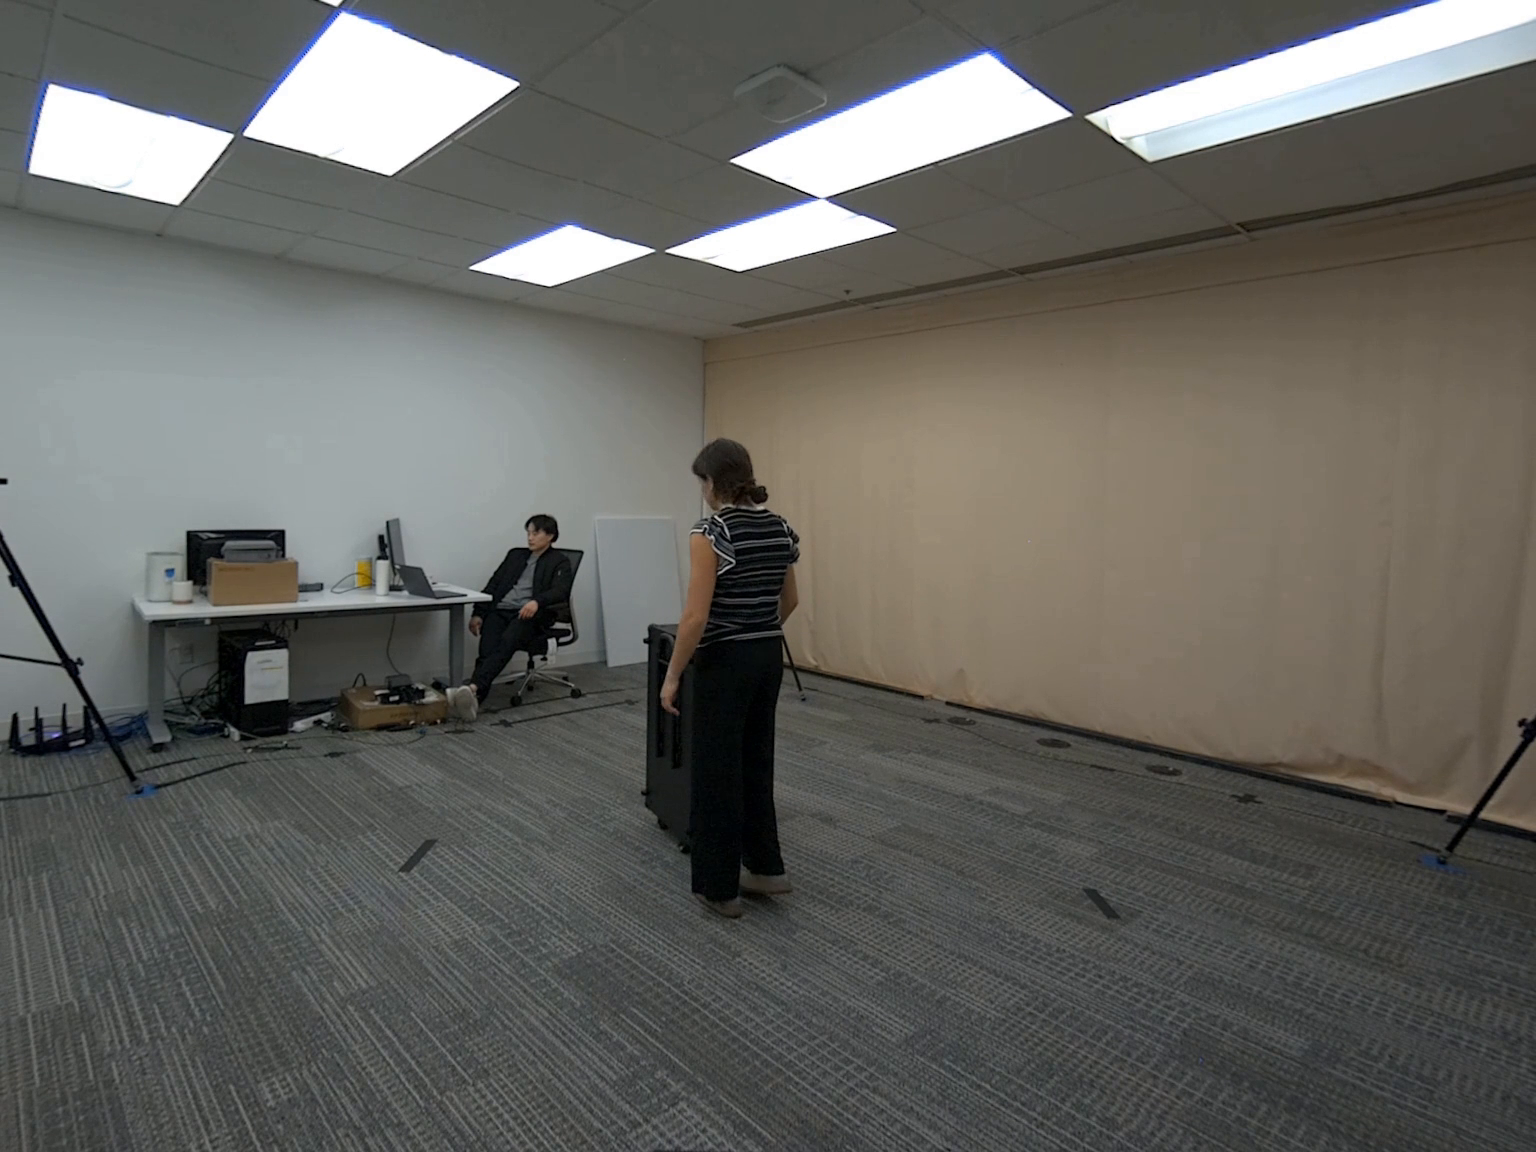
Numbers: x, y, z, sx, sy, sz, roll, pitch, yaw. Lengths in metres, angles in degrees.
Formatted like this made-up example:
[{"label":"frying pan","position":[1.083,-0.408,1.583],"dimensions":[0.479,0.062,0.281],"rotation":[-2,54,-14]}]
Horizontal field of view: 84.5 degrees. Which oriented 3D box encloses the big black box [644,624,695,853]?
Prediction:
[{"label":"big black box","position":[-0.258,0.654,3.439],"dimensions":[0.388,0.859,0.533],"rotation":[-1,5,-29]}]
